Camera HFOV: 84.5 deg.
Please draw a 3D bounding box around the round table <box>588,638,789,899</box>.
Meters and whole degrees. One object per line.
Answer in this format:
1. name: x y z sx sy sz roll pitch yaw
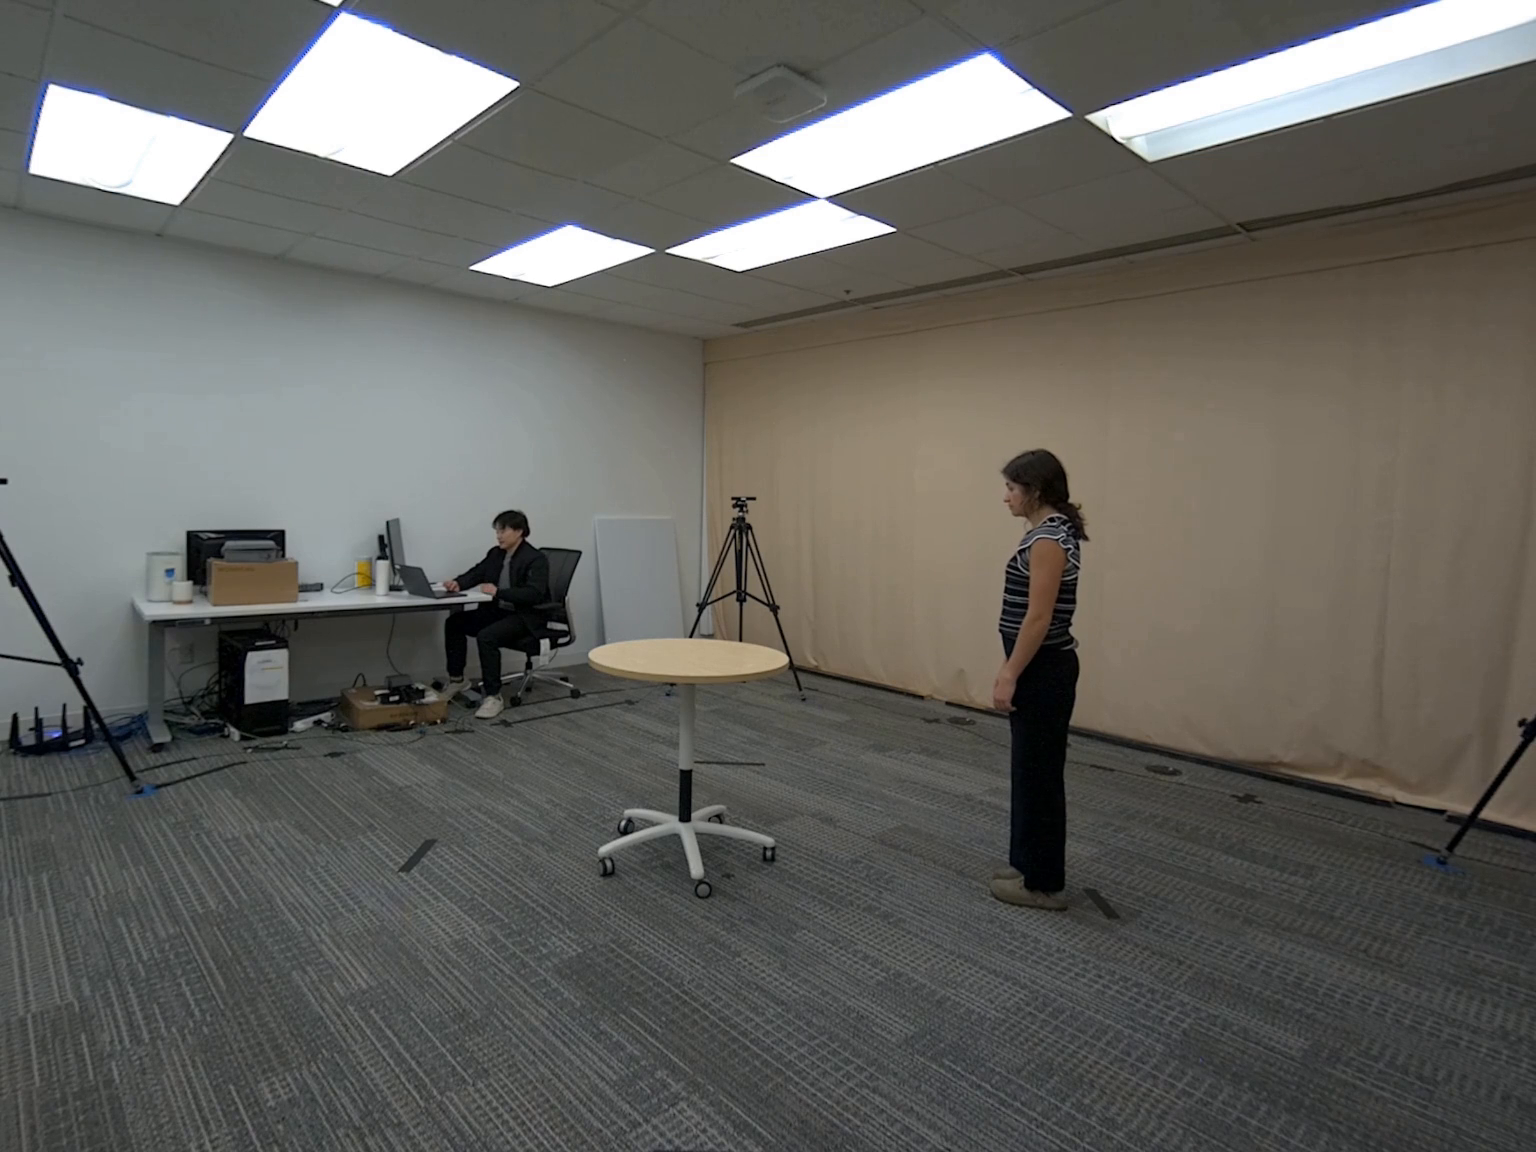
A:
1. round table: -0.319 0.694 3.230 0.784 0.784 0.787 2 4 -1
